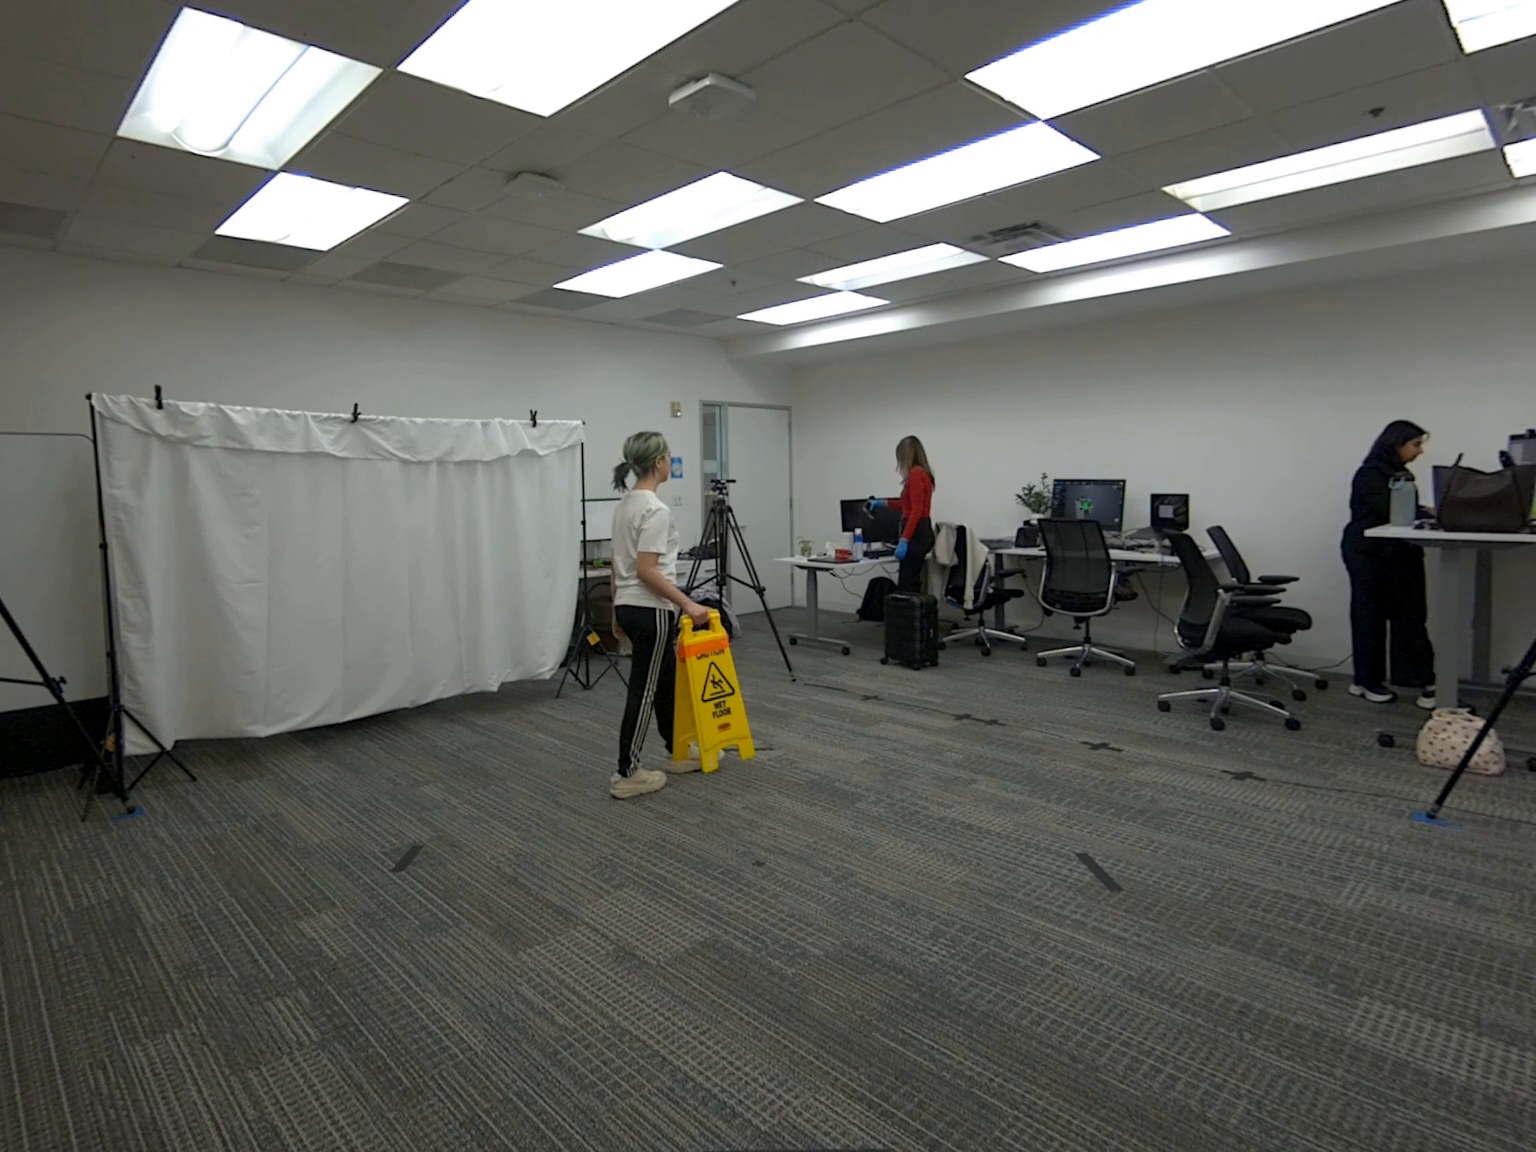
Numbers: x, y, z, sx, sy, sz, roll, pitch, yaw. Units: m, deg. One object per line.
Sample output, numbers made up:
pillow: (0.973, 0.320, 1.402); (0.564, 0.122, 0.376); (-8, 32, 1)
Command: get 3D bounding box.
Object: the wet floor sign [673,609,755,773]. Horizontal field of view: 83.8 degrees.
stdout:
wet floor sign: (-0.264, 0.479, 3.740); (0.275, 0.642, 0.298); (-10, 7, -39)
